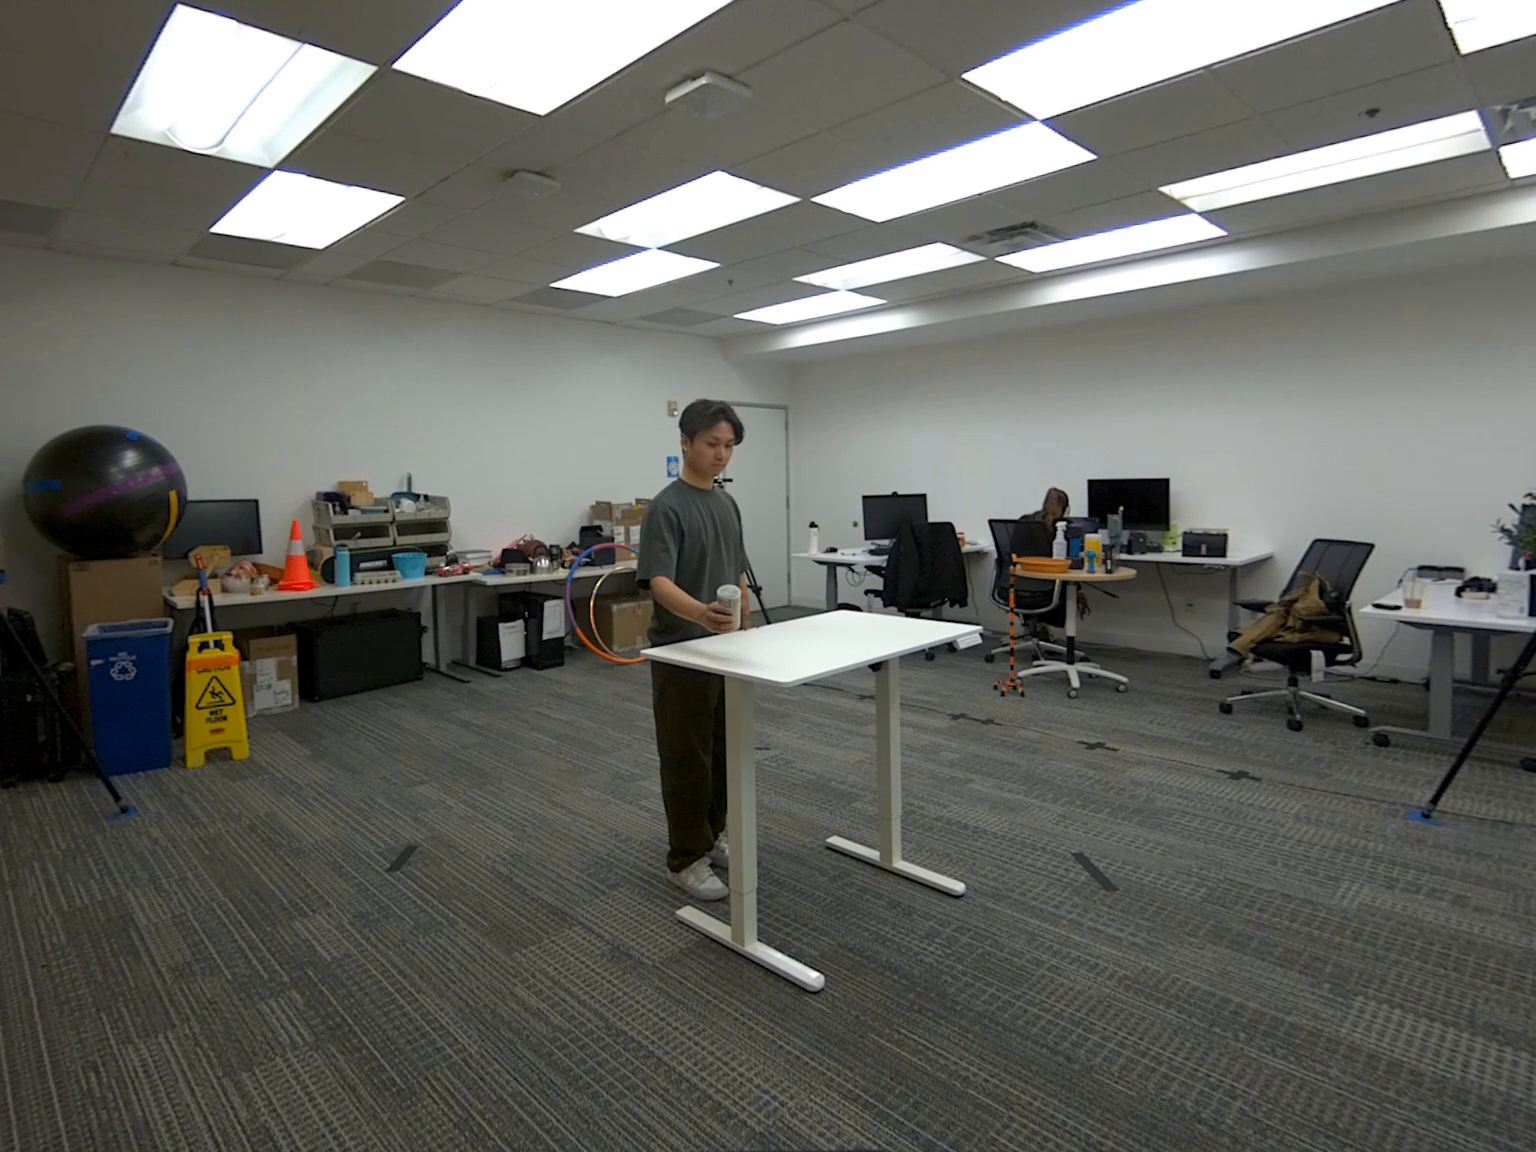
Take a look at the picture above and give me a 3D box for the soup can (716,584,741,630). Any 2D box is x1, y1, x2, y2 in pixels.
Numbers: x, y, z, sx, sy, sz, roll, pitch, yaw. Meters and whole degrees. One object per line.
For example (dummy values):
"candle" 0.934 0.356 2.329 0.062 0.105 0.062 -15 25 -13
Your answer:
"soup can" -0.110 0.098 2.409 0.067 0.119 0.068 -3 21 -1
